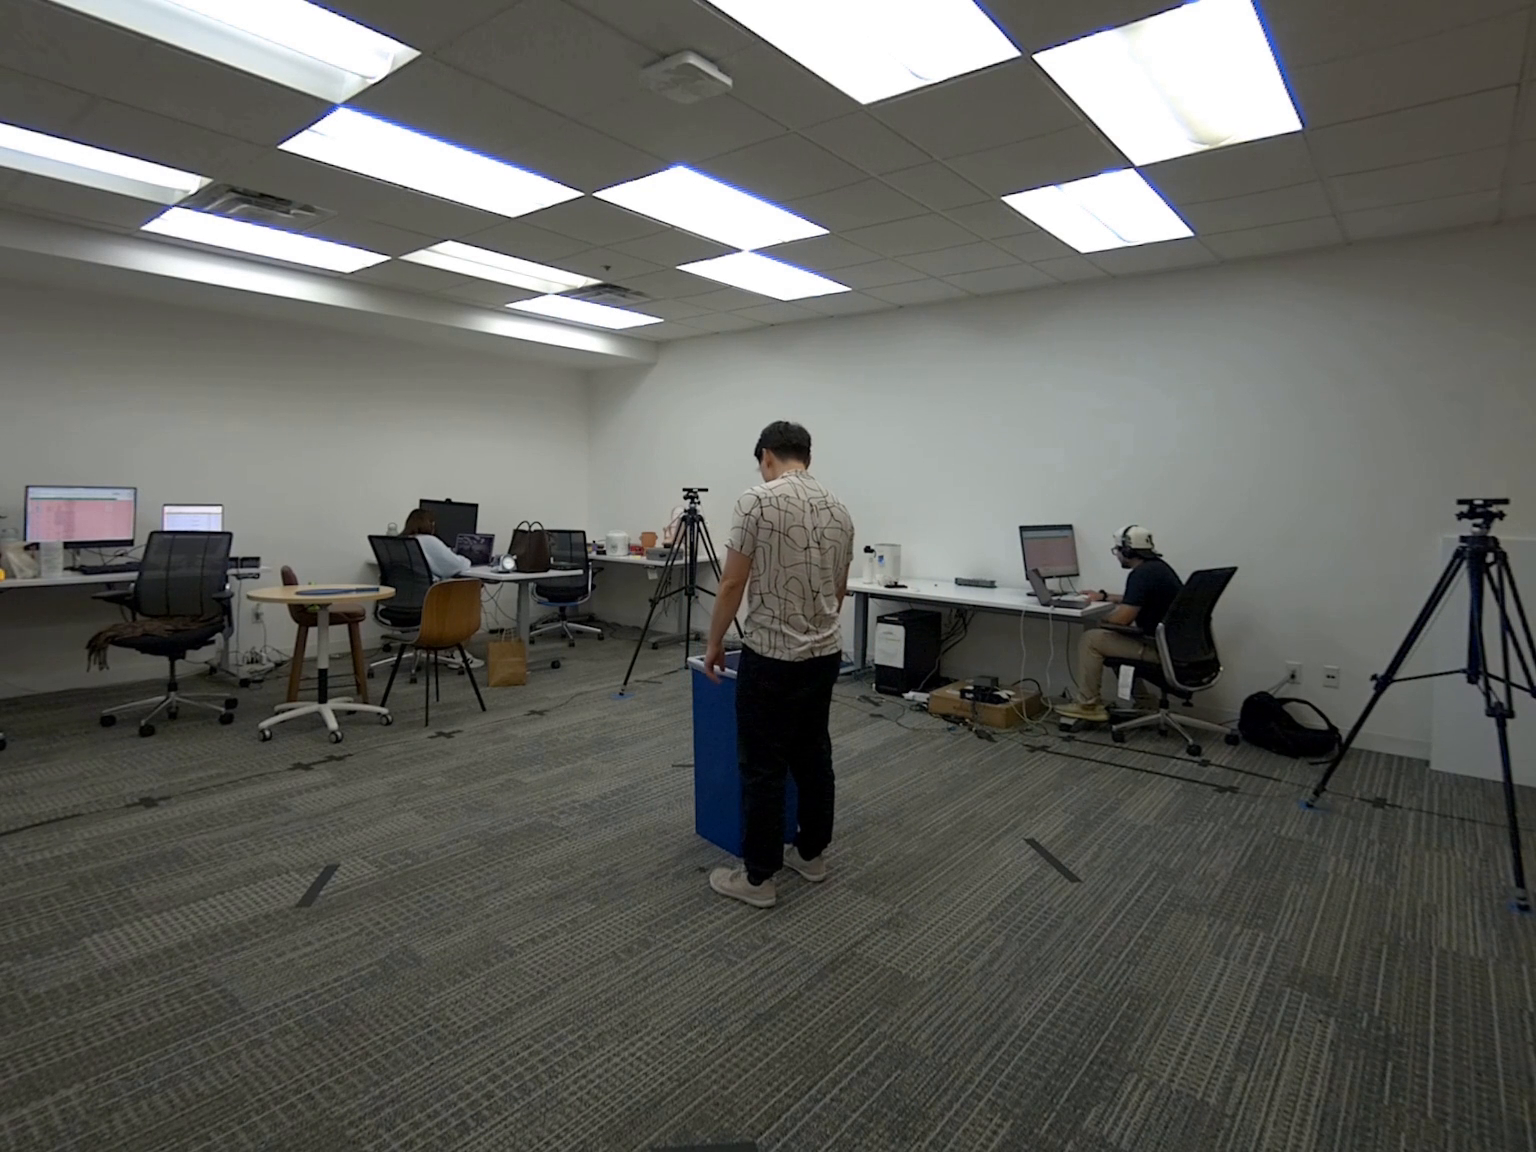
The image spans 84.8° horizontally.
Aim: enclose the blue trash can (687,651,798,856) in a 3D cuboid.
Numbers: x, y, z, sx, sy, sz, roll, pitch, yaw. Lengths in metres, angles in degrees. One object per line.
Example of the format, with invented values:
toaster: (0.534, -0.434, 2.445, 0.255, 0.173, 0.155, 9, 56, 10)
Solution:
blue trash can: (-0.096, 0.686, 3.393, 0.363, 0.712, 0.390, -1, 3, -38)
